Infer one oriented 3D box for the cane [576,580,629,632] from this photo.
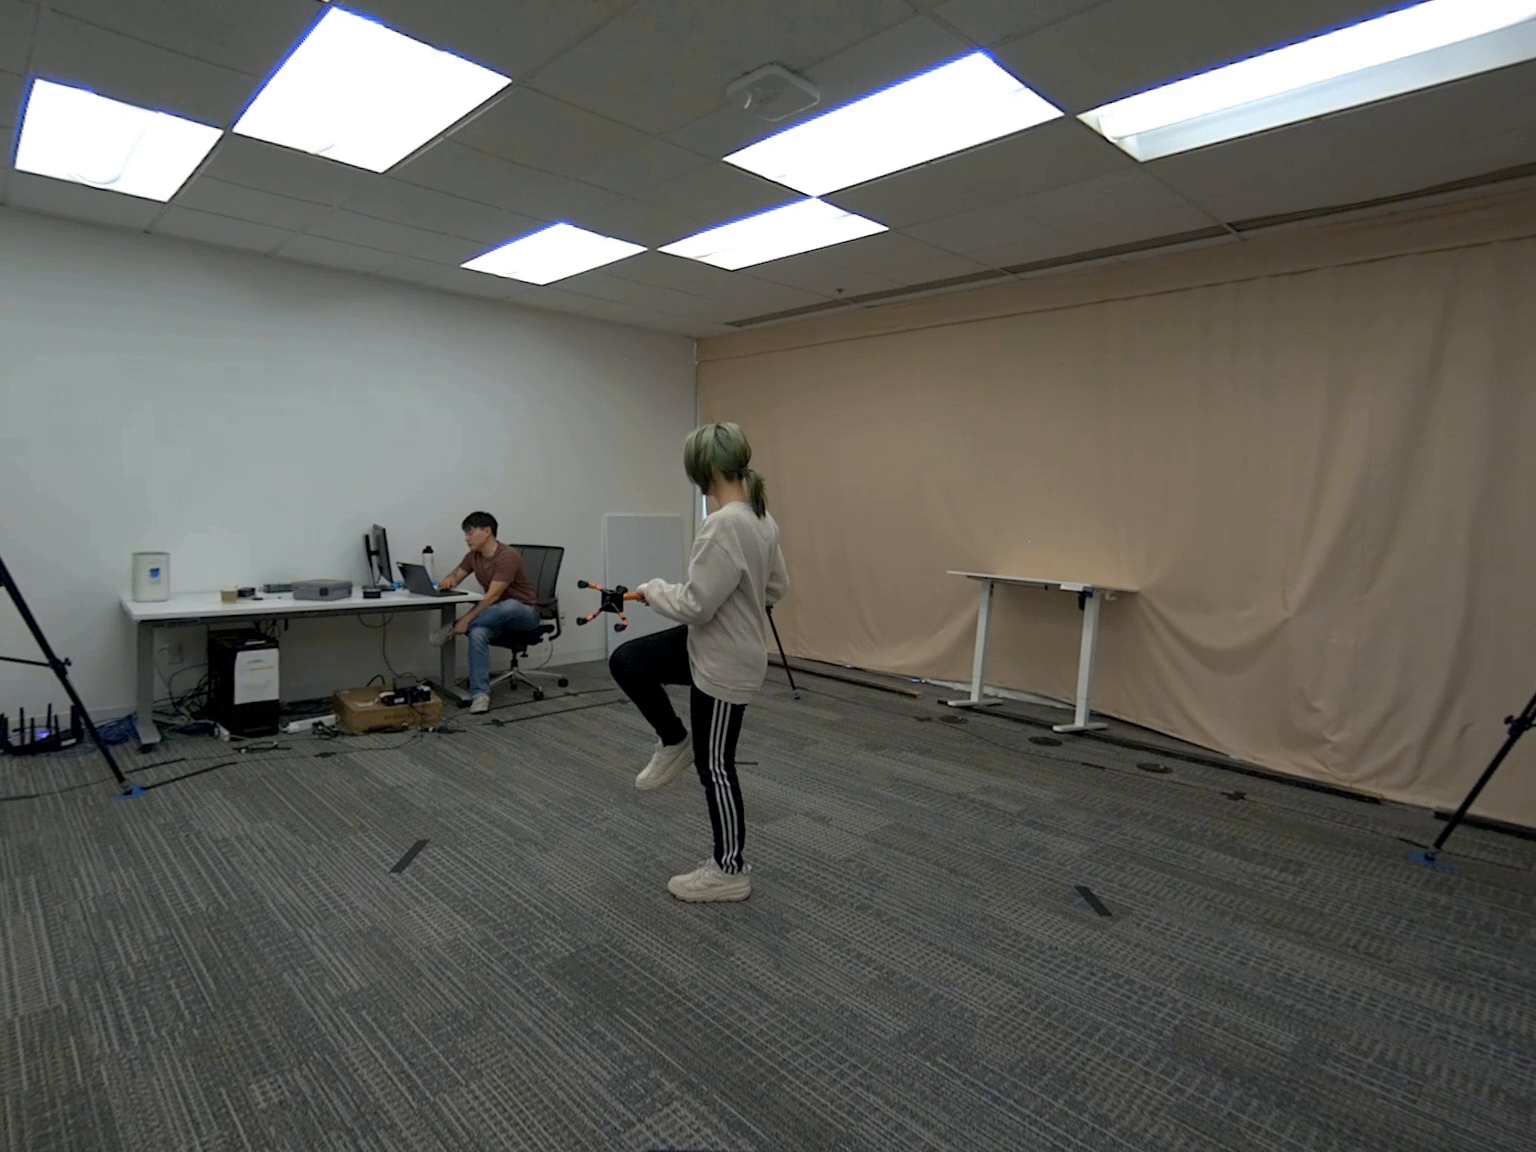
[{"bbox_3d":[-0.322,0.078,3.109,0.211,0.151,0.888,6,6,34],"label":"cane"}]
